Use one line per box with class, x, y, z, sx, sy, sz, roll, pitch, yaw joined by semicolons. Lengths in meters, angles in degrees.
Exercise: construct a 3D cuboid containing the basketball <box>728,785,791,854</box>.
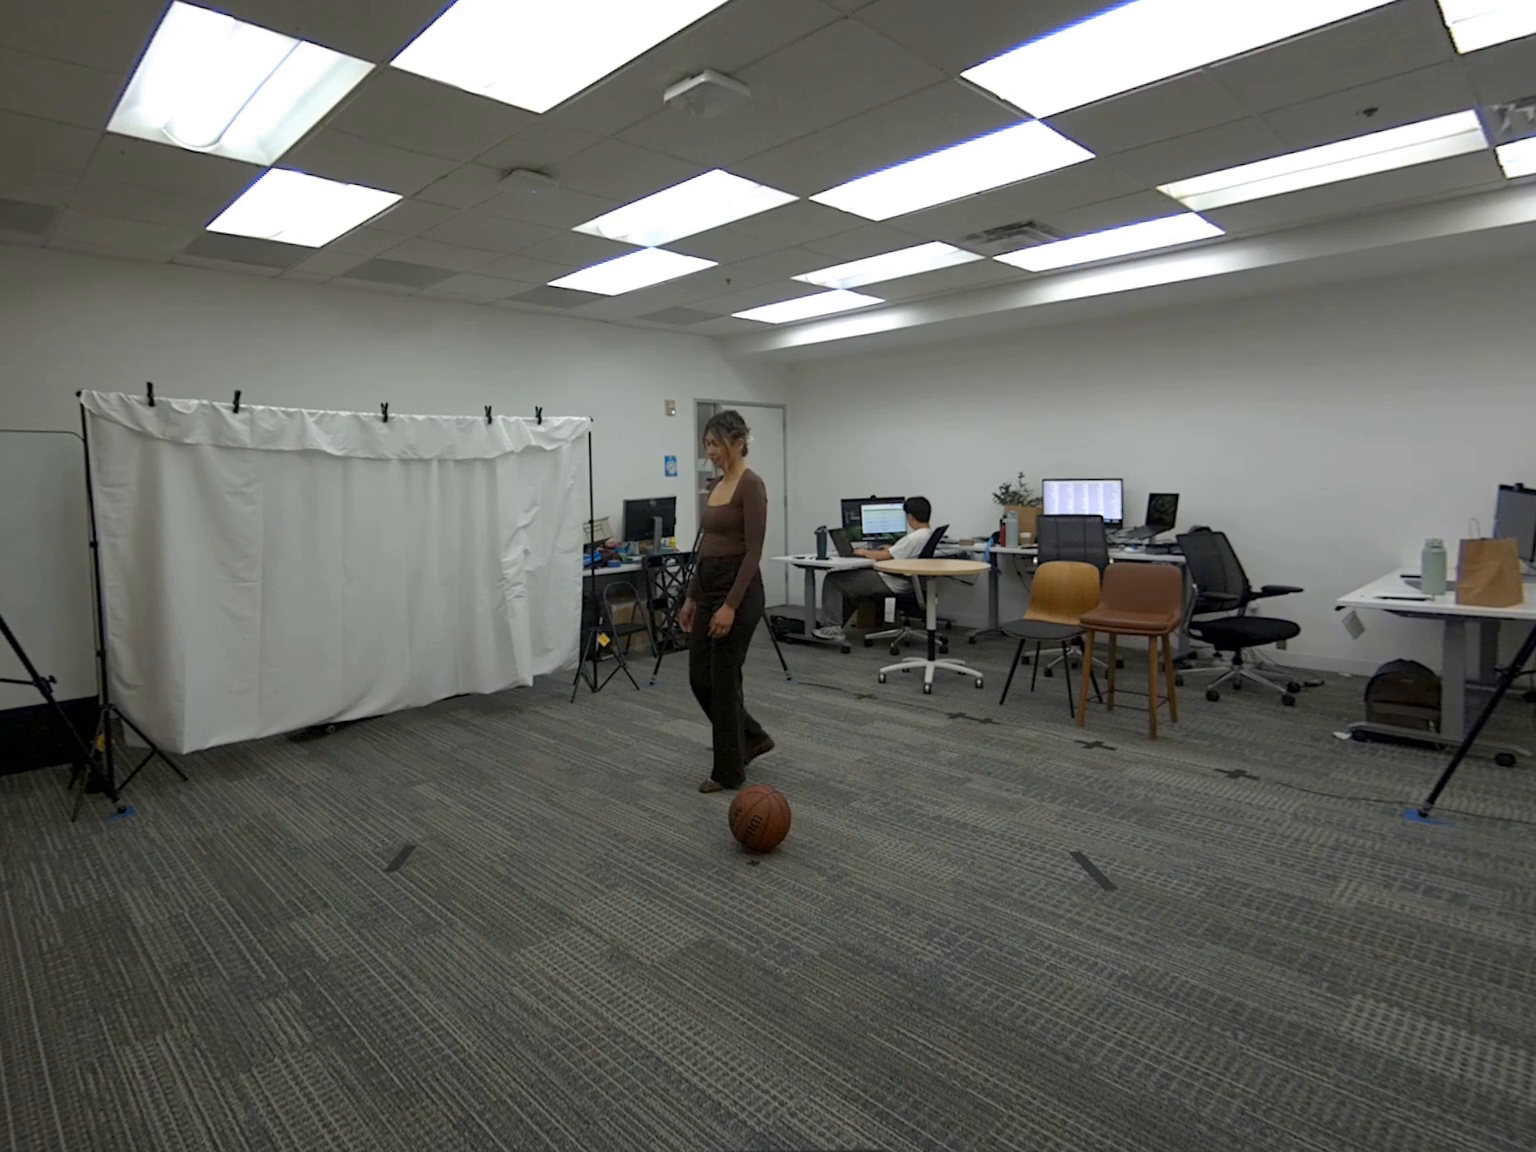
basketball;-0.030;0.908;3.225;0.236;0.235;0.237;-1;5;-2
